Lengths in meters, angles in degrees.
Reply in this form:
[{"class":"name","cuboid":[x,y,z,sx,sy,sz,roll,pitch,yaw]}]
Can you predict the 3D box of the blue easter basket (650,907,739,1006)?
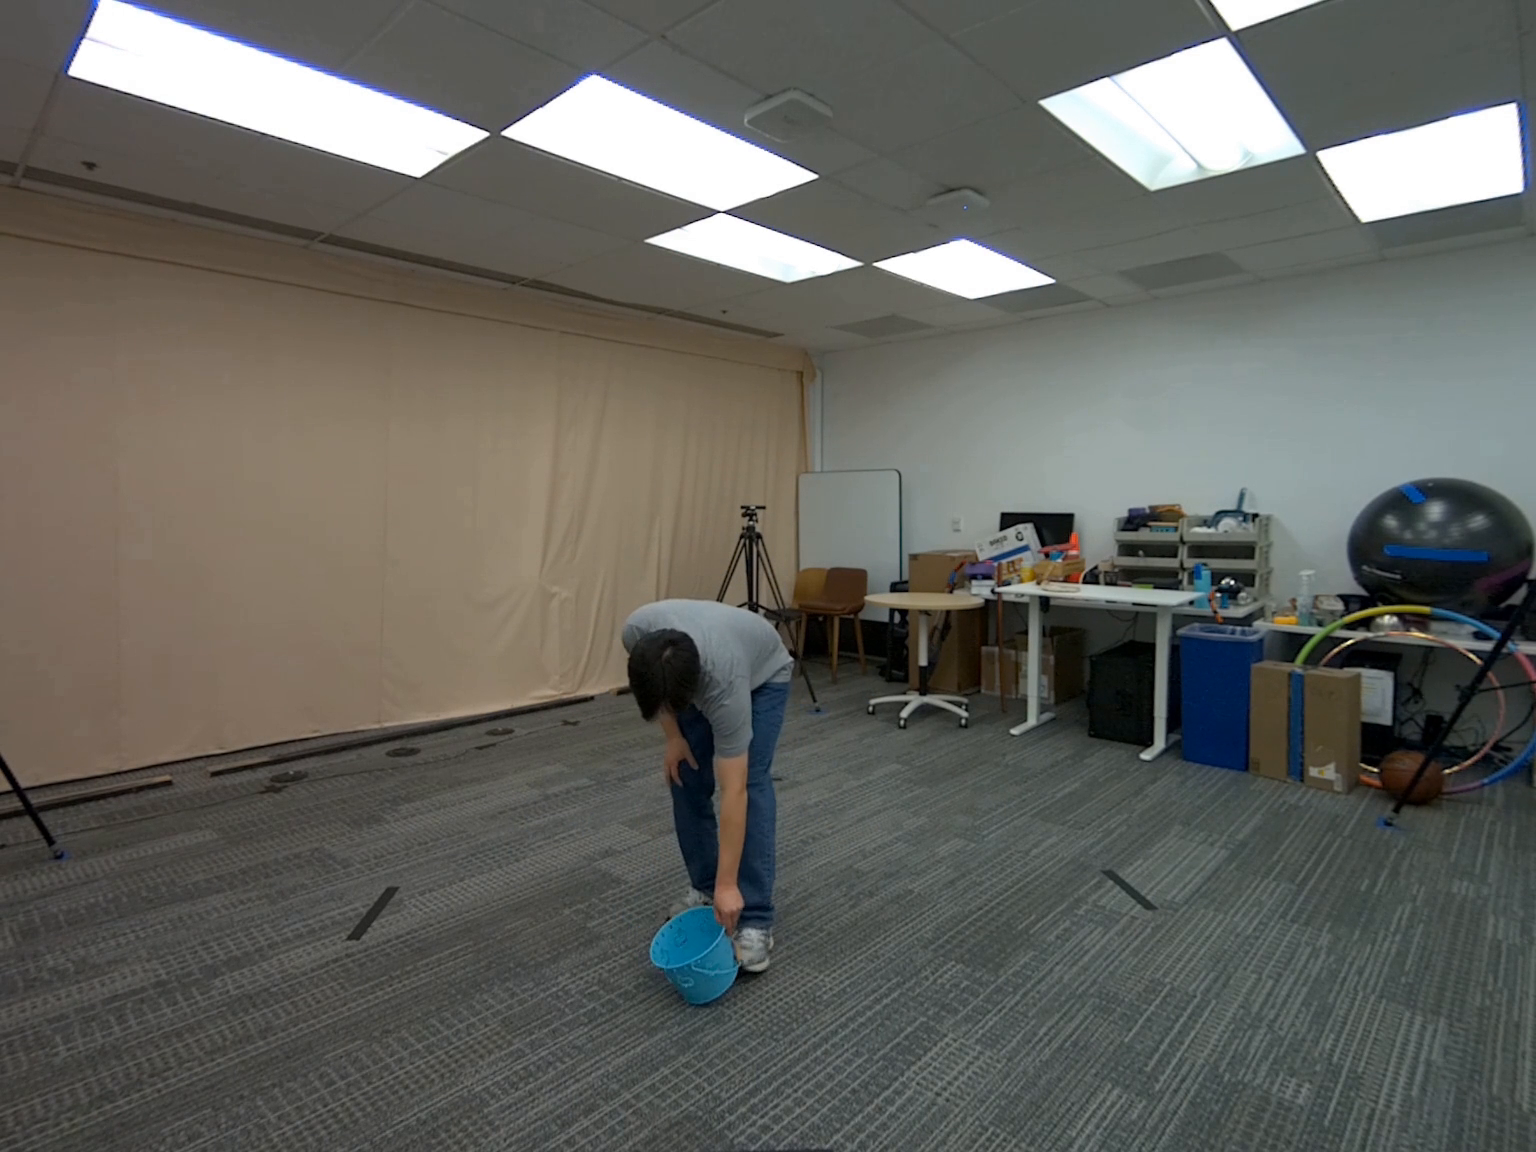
[{"class":"blue easter basket","cuboid":[-0.201,1.085,2.405,0.244,0.154,0.245,-20,11,2]}]
